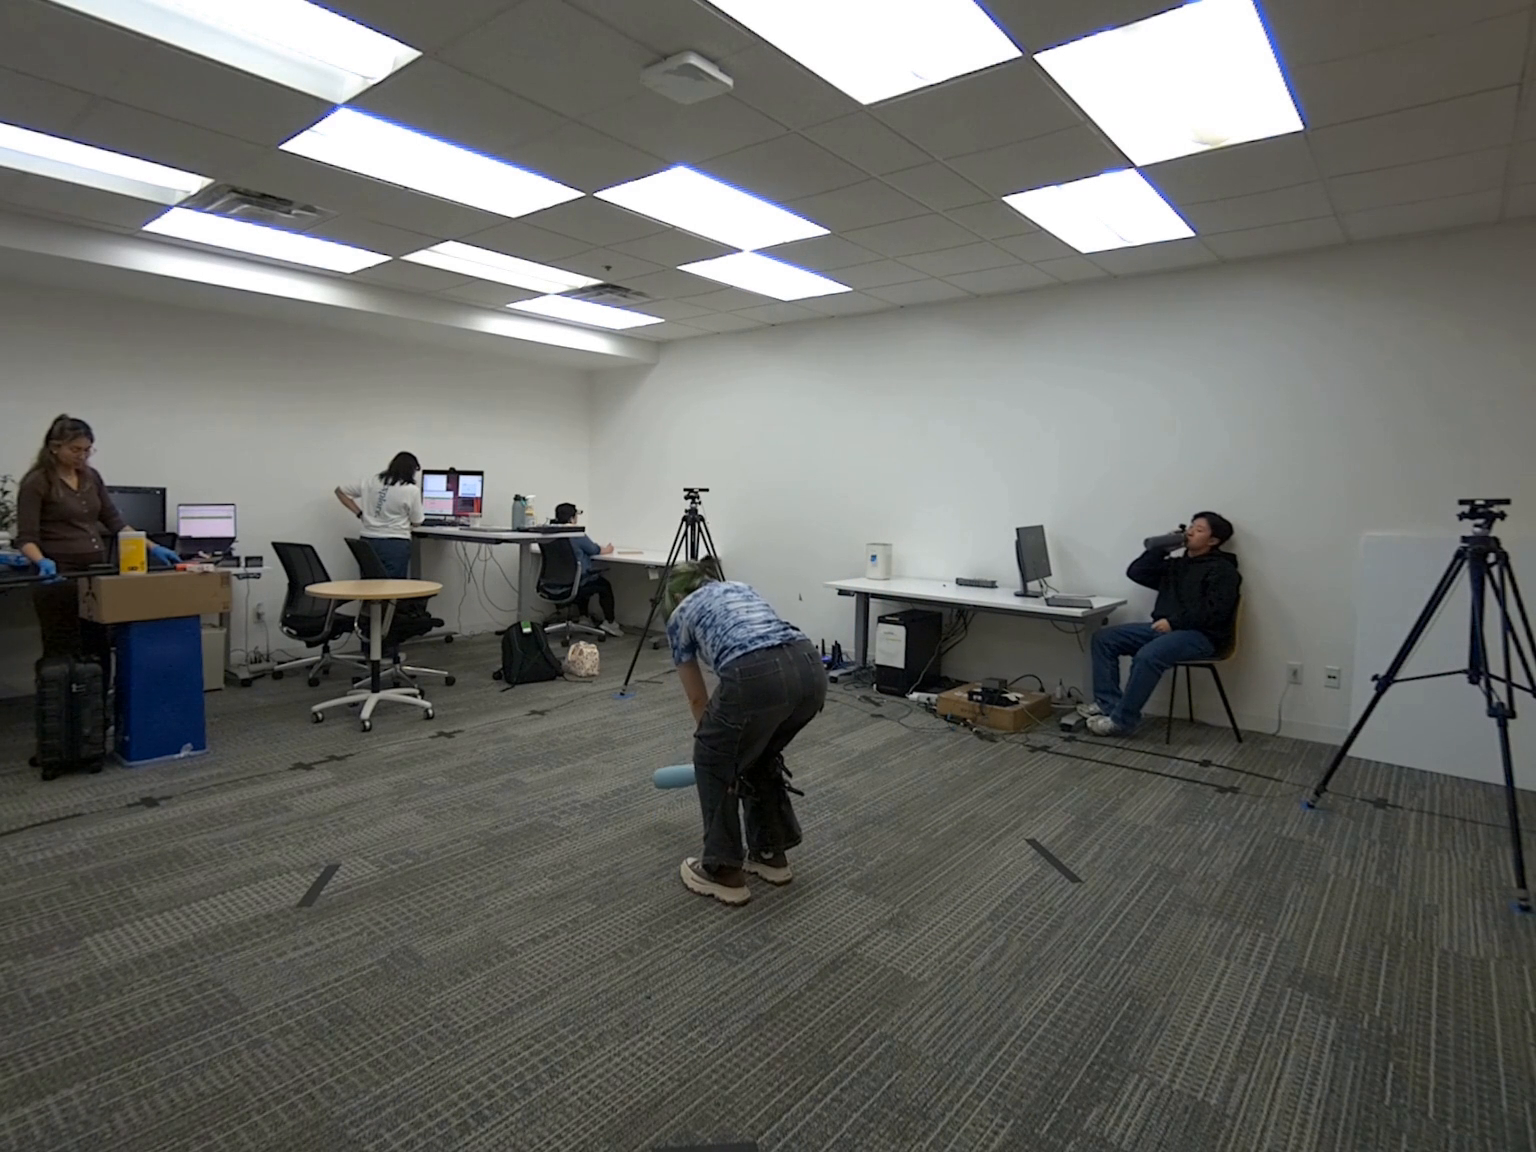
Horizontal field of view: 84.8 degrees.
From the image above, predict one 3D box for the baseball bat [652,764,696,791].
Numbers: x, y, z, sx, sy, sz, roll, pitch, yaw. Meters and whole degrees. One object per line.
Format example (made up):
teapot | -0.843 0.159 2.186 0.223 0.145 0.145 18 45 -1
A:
baseball bat | -0.266 0.786 3.409 0.554 0.090 0.086 -15 -6 36
